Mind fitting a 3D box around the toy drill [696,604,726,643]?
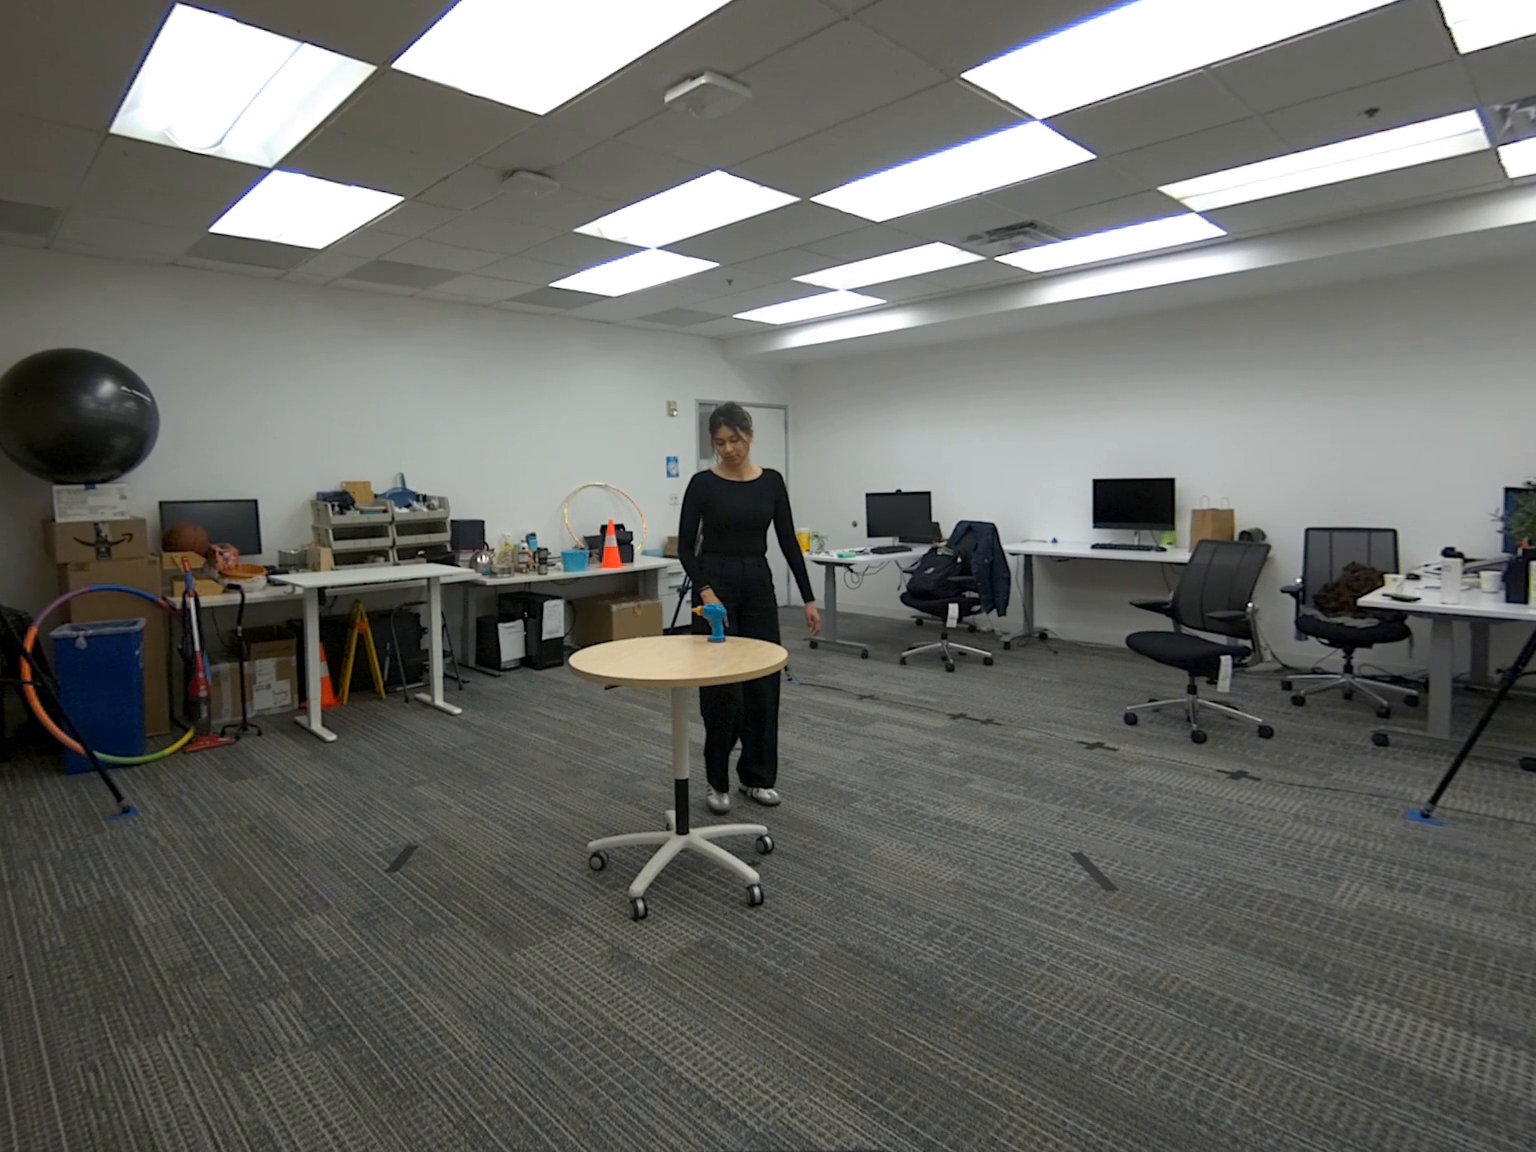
[{"bbox_3d":[-0.232,0.178,3.275,0.174,0.146,0.059,1,3,36],"label":"toy drill"}]
